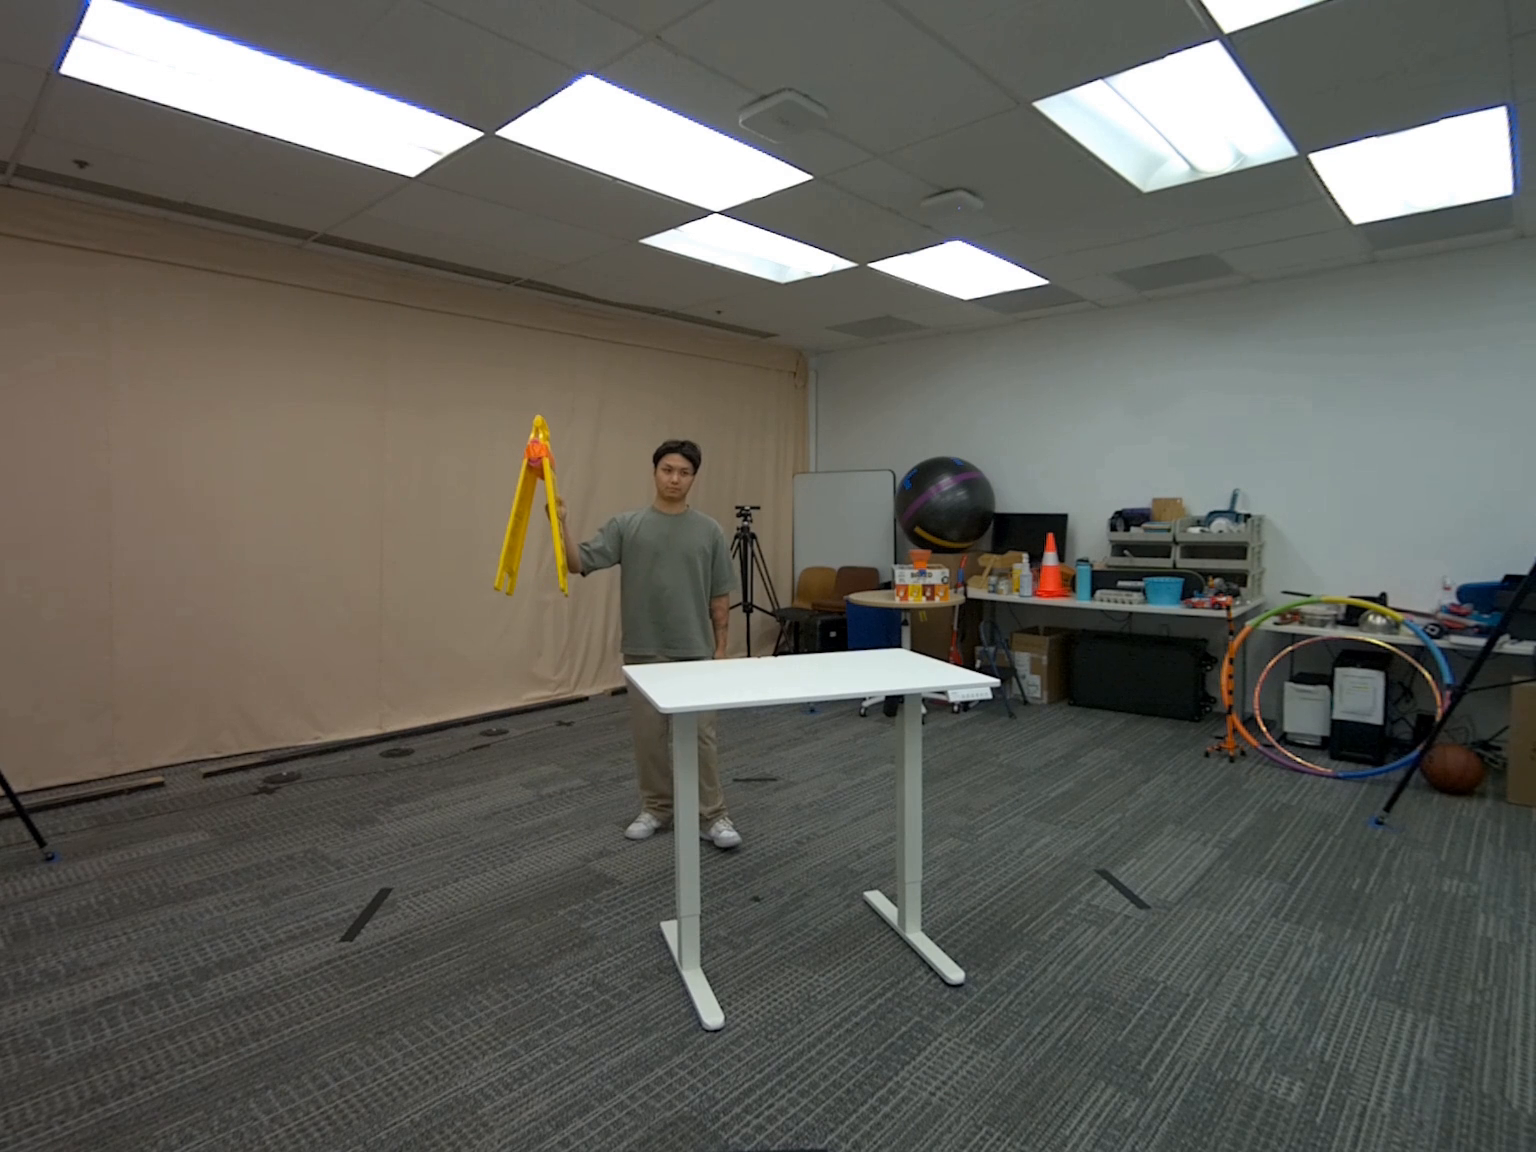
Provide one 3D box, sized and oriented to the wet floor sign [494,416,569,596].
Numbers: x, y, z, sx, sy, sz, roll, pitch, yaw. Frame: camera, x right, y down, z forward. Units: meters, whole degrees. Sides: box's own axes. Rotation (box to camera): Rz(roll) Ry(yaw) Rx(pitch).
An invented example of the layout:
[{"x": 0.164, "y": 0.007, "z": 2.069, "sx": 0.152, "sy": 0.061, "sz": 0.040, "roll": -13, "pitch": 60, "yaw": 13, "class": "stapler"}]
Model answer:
[{"x": -0.861, "y": -0.266, "z": 3.141, "sx": 0.288, "sy": 0.649, "sz": 0.282, "roll": 1, "pitch": -8, "yaw": -5, "class": "wet floor sign"}]
